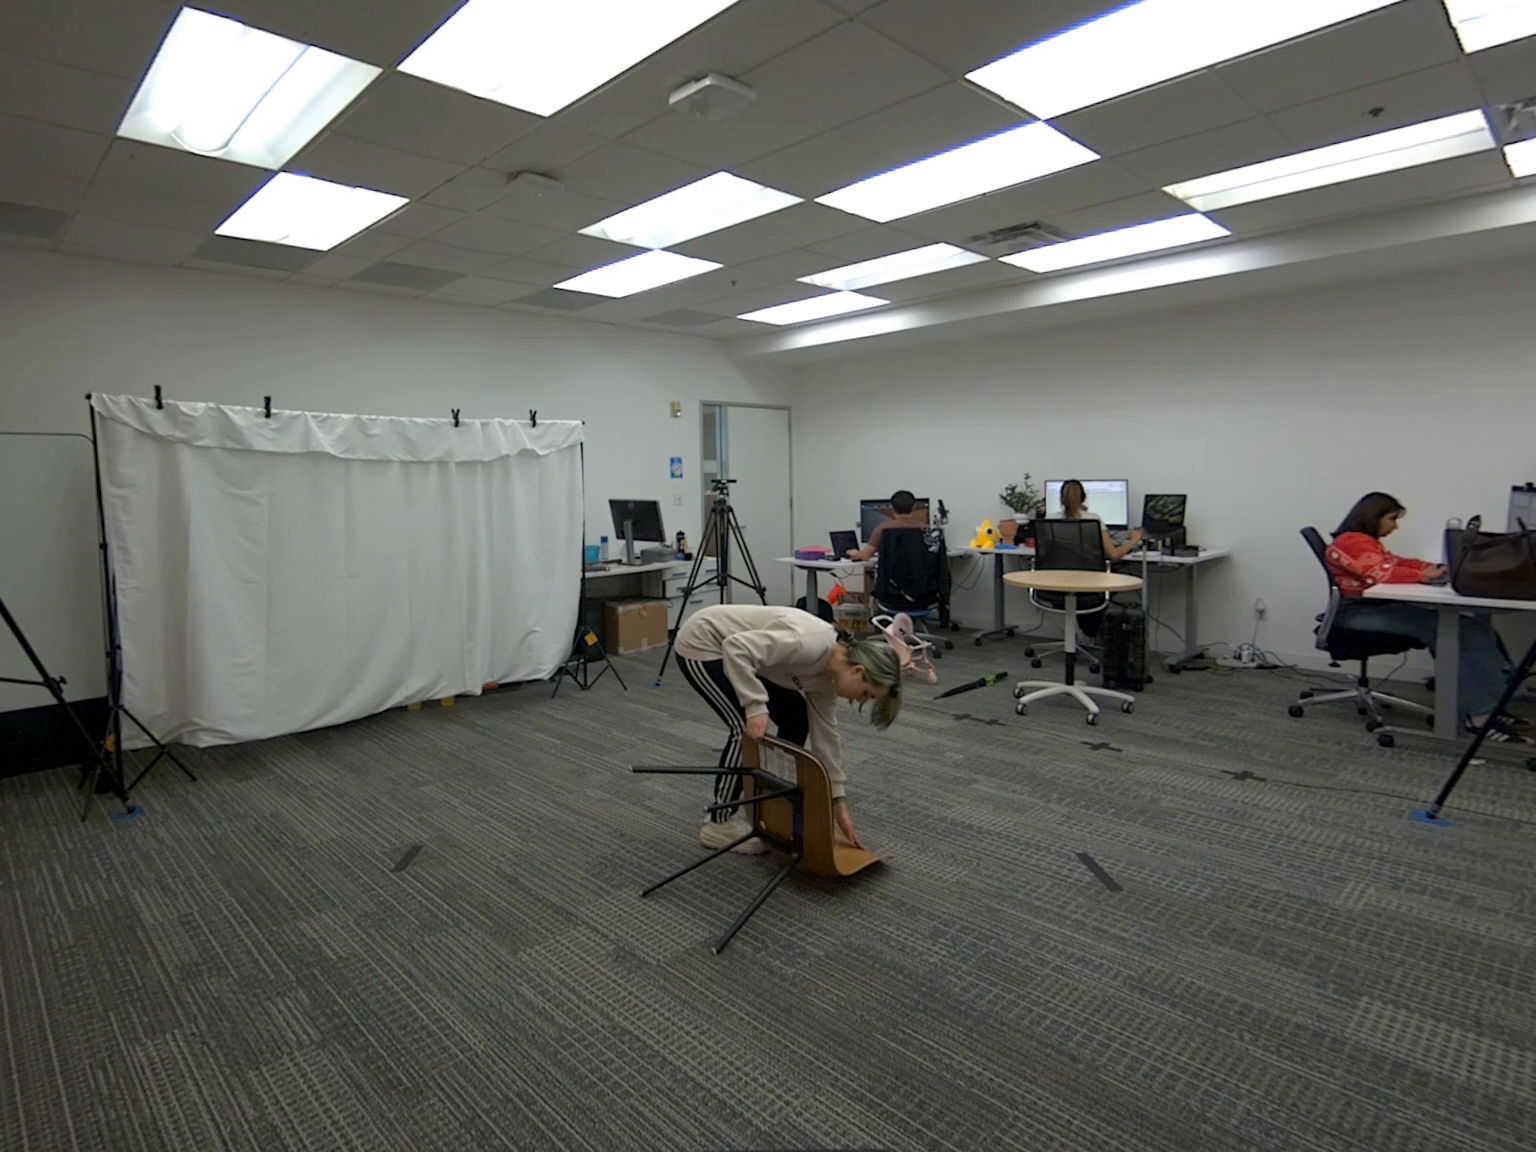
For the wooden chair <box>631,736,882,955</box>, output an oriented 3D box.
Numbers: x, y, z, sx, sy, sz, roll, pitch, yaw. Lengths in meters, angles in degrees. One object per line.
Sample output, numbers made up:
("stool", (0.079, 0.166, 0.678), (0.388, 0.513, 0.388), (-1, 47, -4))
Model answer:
("wooden chair", (0.029, 0.811, 2.915), (0.854, 0.521, 0.493), (-4, 6, -37))
